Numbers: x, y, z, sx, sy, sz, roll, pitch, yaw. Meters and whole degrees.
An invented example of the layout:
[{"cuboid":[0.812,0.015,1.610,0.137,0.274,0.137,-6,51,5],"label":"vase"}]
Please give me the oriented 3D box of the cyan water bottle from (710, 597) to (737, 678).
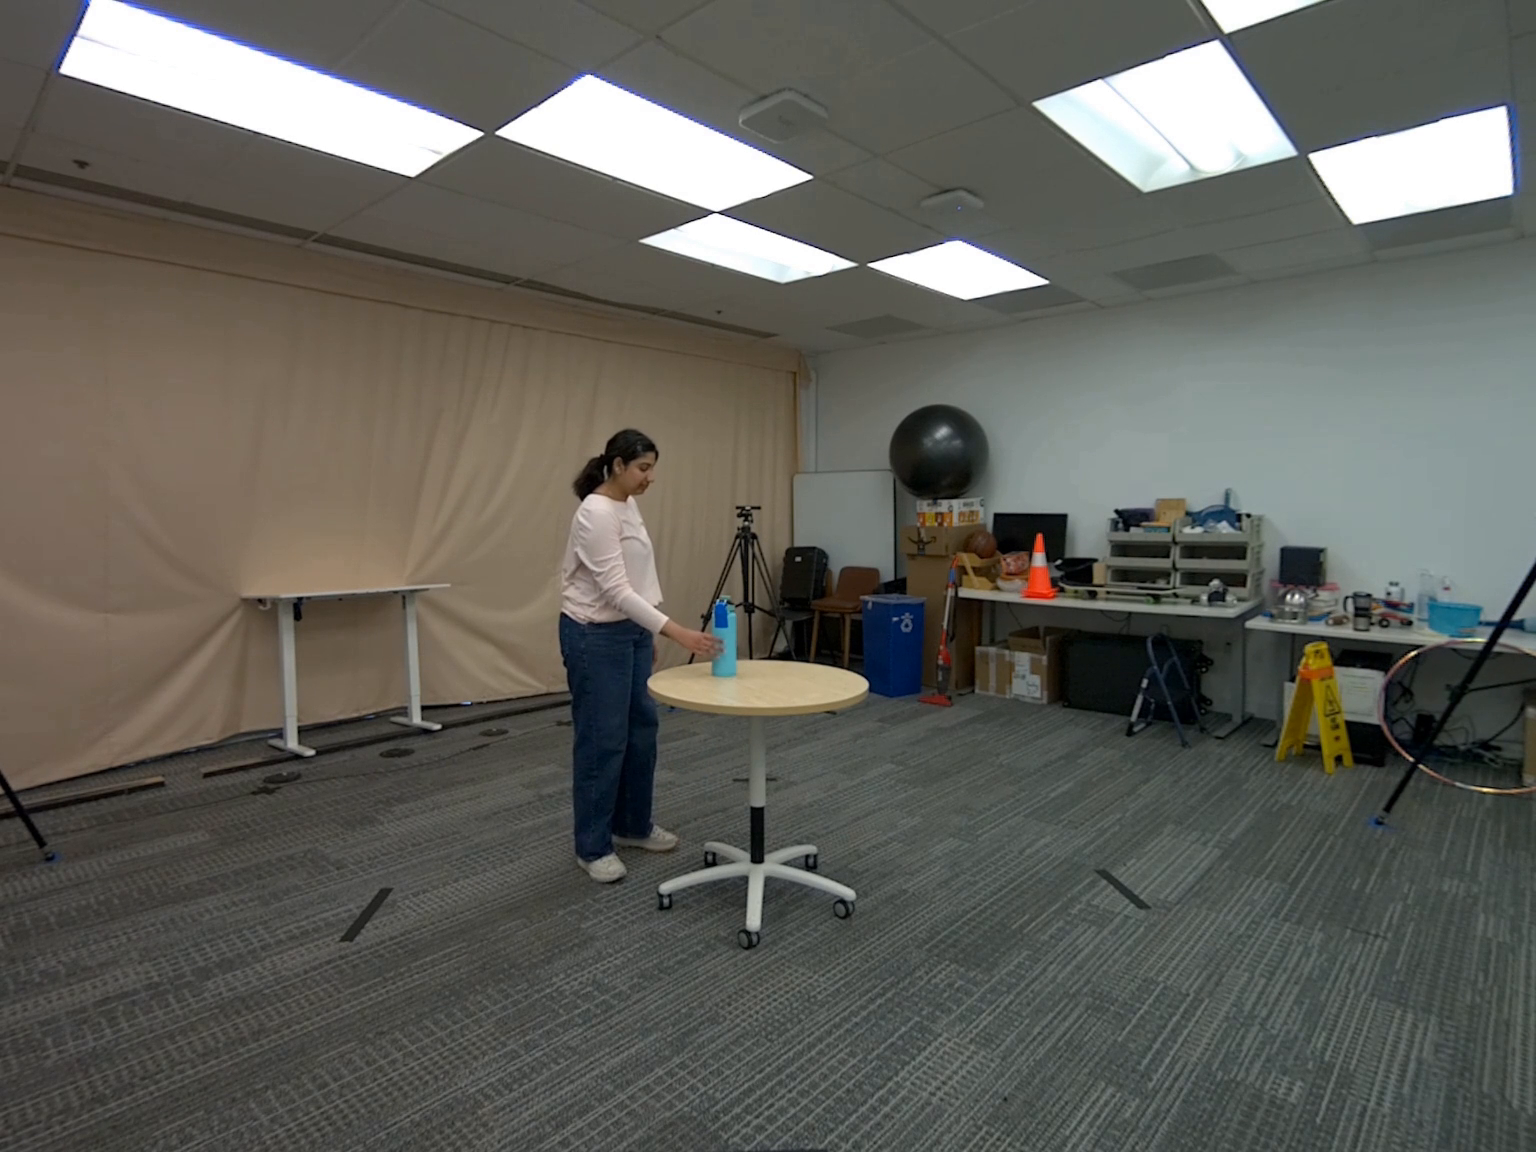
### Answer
[{"cuboid":[-0.152,0.218,3.025,0.092,0.283,0.092,1,3,-2],"label":"cyan water bottle"}]
